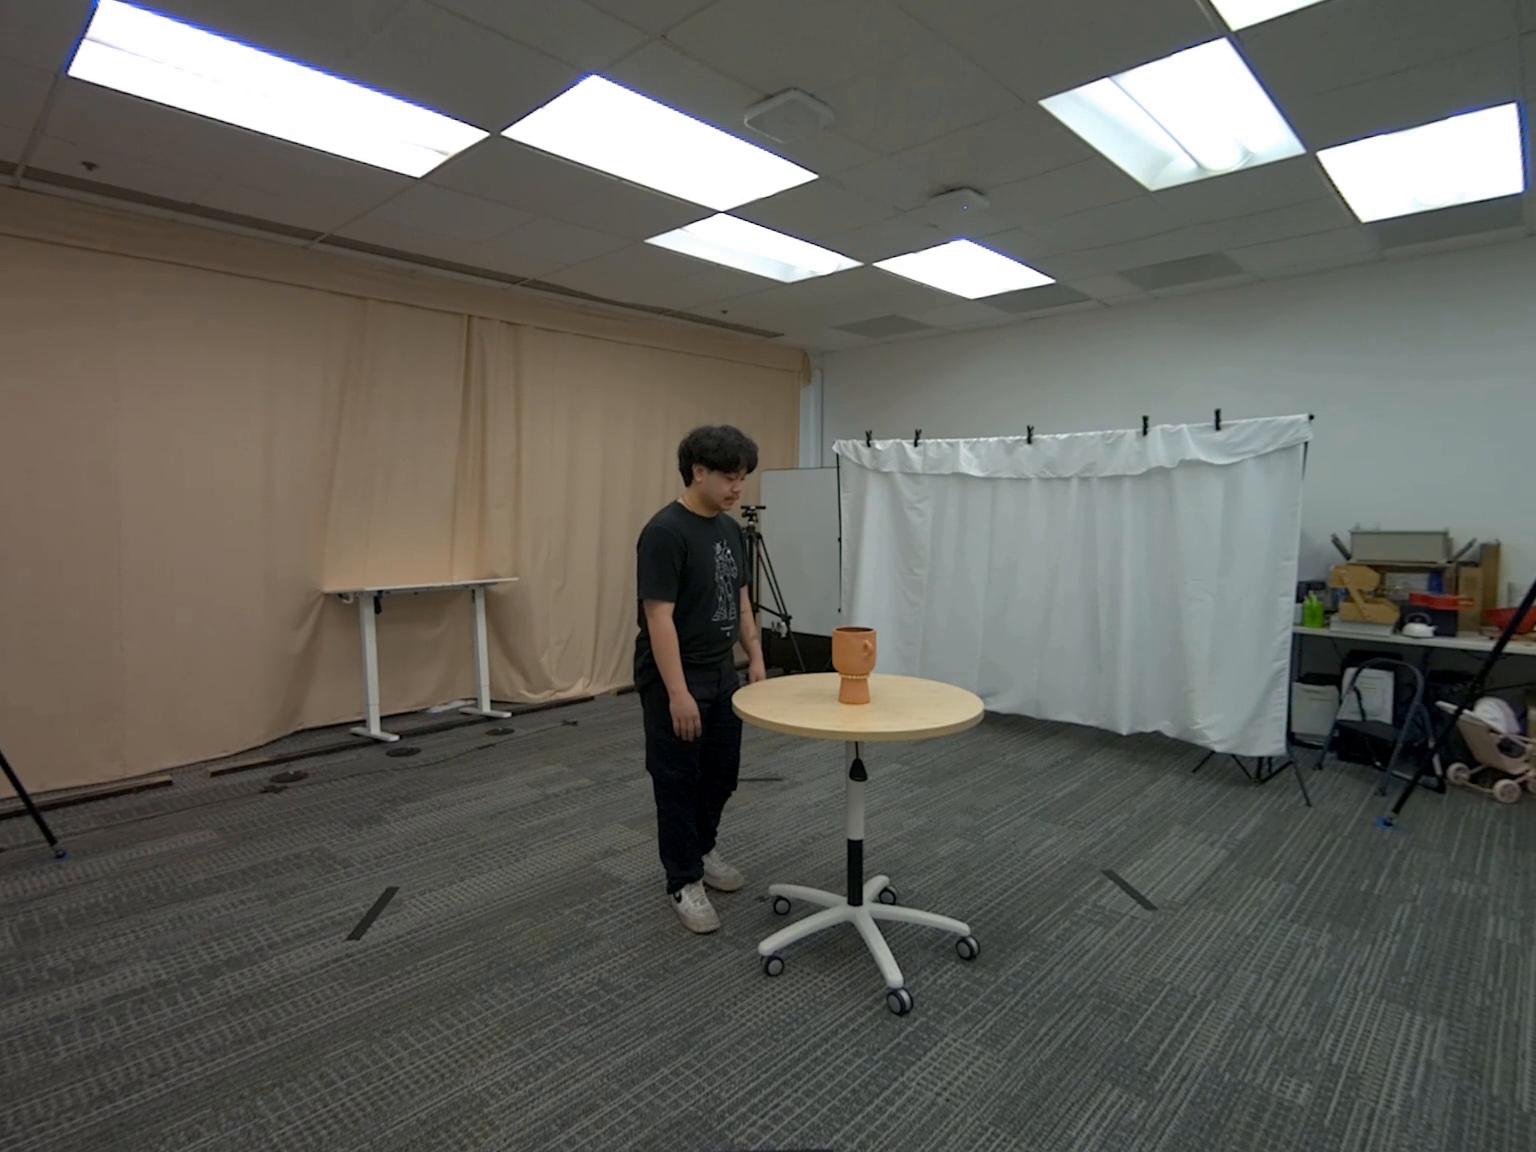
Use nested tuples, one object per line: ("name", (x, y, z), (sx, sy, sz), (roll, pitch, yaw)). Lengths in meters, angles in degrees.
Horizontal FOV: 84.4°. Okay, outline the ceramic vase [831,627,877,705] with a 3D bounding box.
("ceramic vase", (0.285, 0.279, 2.564), (0.137, 0.219, 0.156), (1, 4, 16))
